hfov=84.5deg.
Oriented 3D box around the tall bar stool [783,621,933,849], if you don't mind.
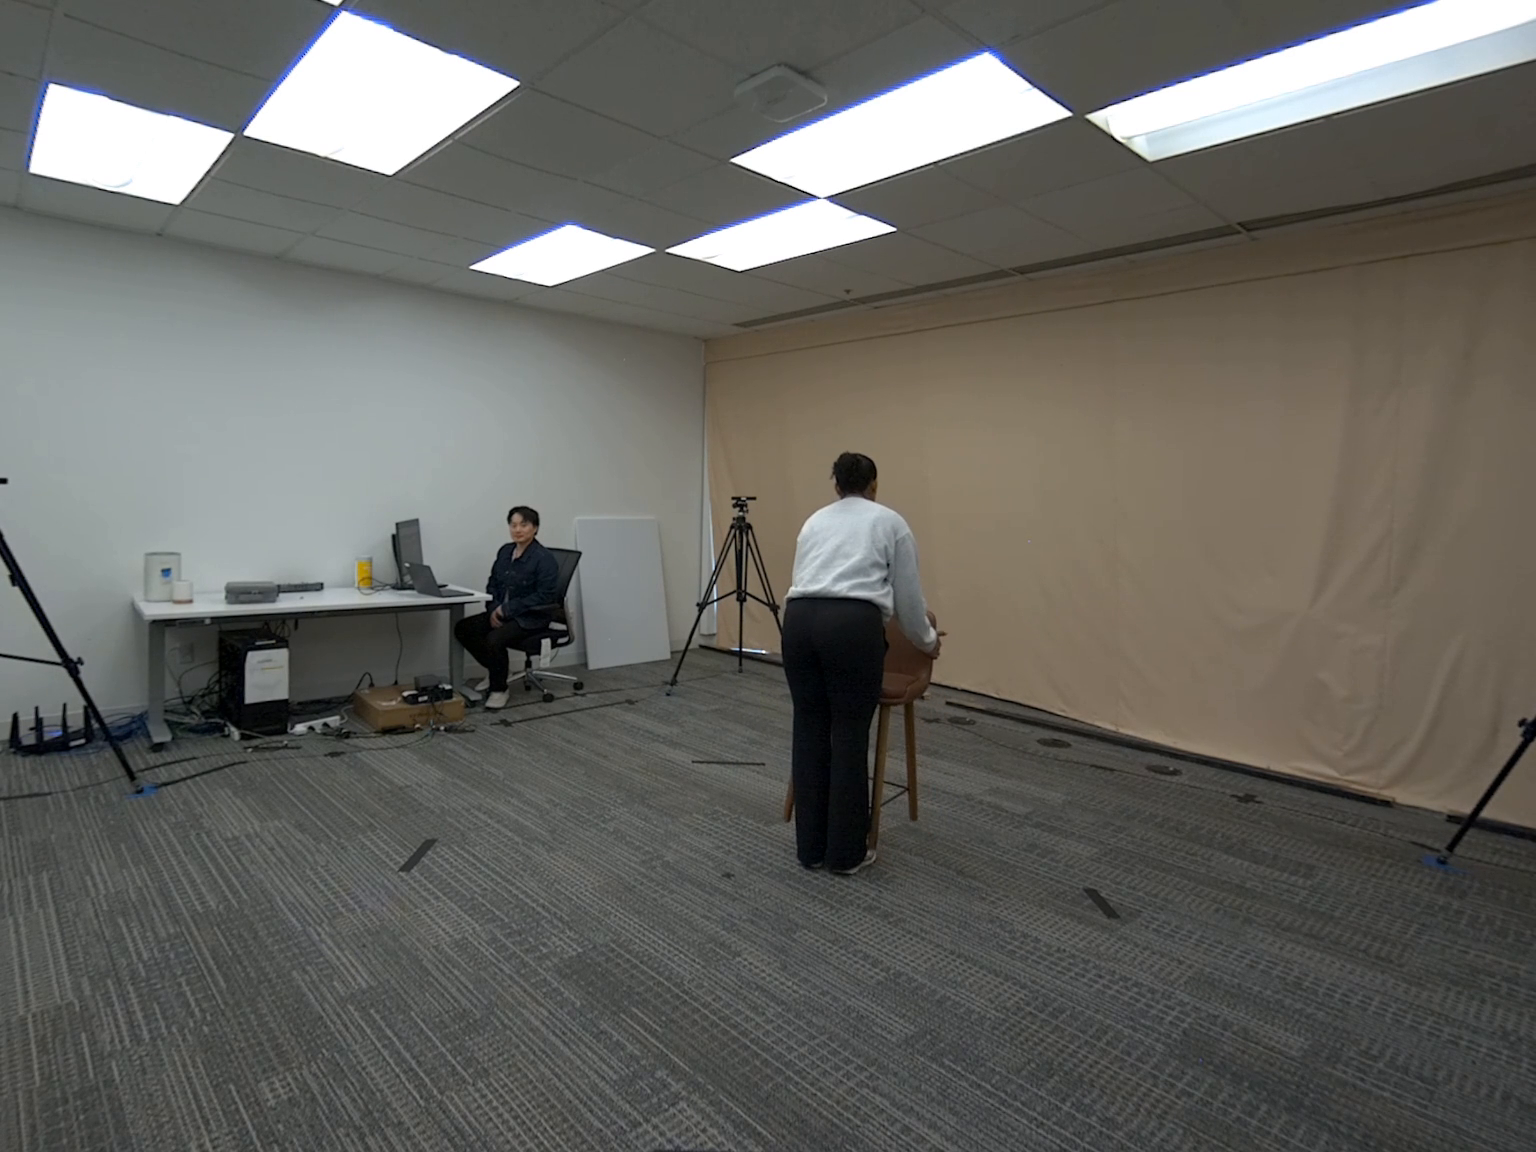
[{"bbox_3d":[0.385,0.570,3.421,0.468,0.889,0.456,6,2,35],"label":"tall bar stool"}]
